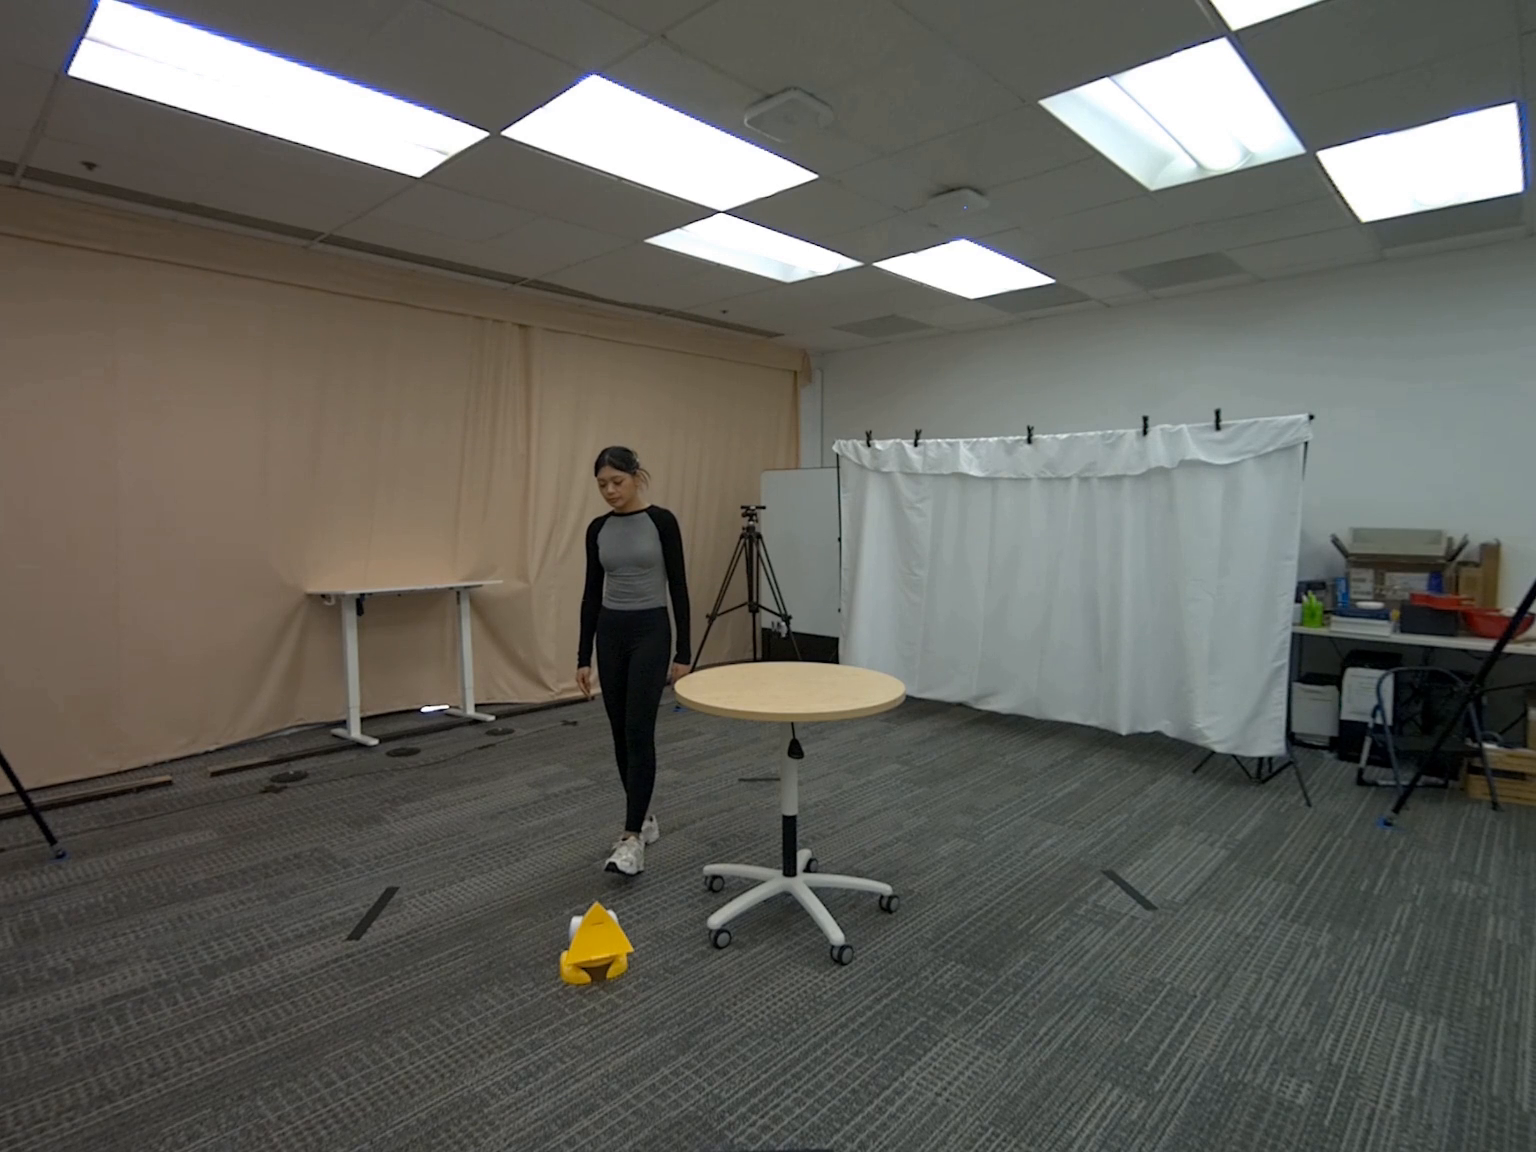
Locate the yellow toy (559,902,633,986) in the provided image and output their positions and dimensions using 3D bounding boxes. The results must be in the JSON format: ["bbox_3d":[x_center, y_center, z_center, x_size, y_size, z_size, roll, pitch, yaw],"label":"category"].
[{"bbox_3d":[-0.527,1.075,2.529,0.200,0.230,0.197,-3,4,-22],"label":"yellow toy"}]
